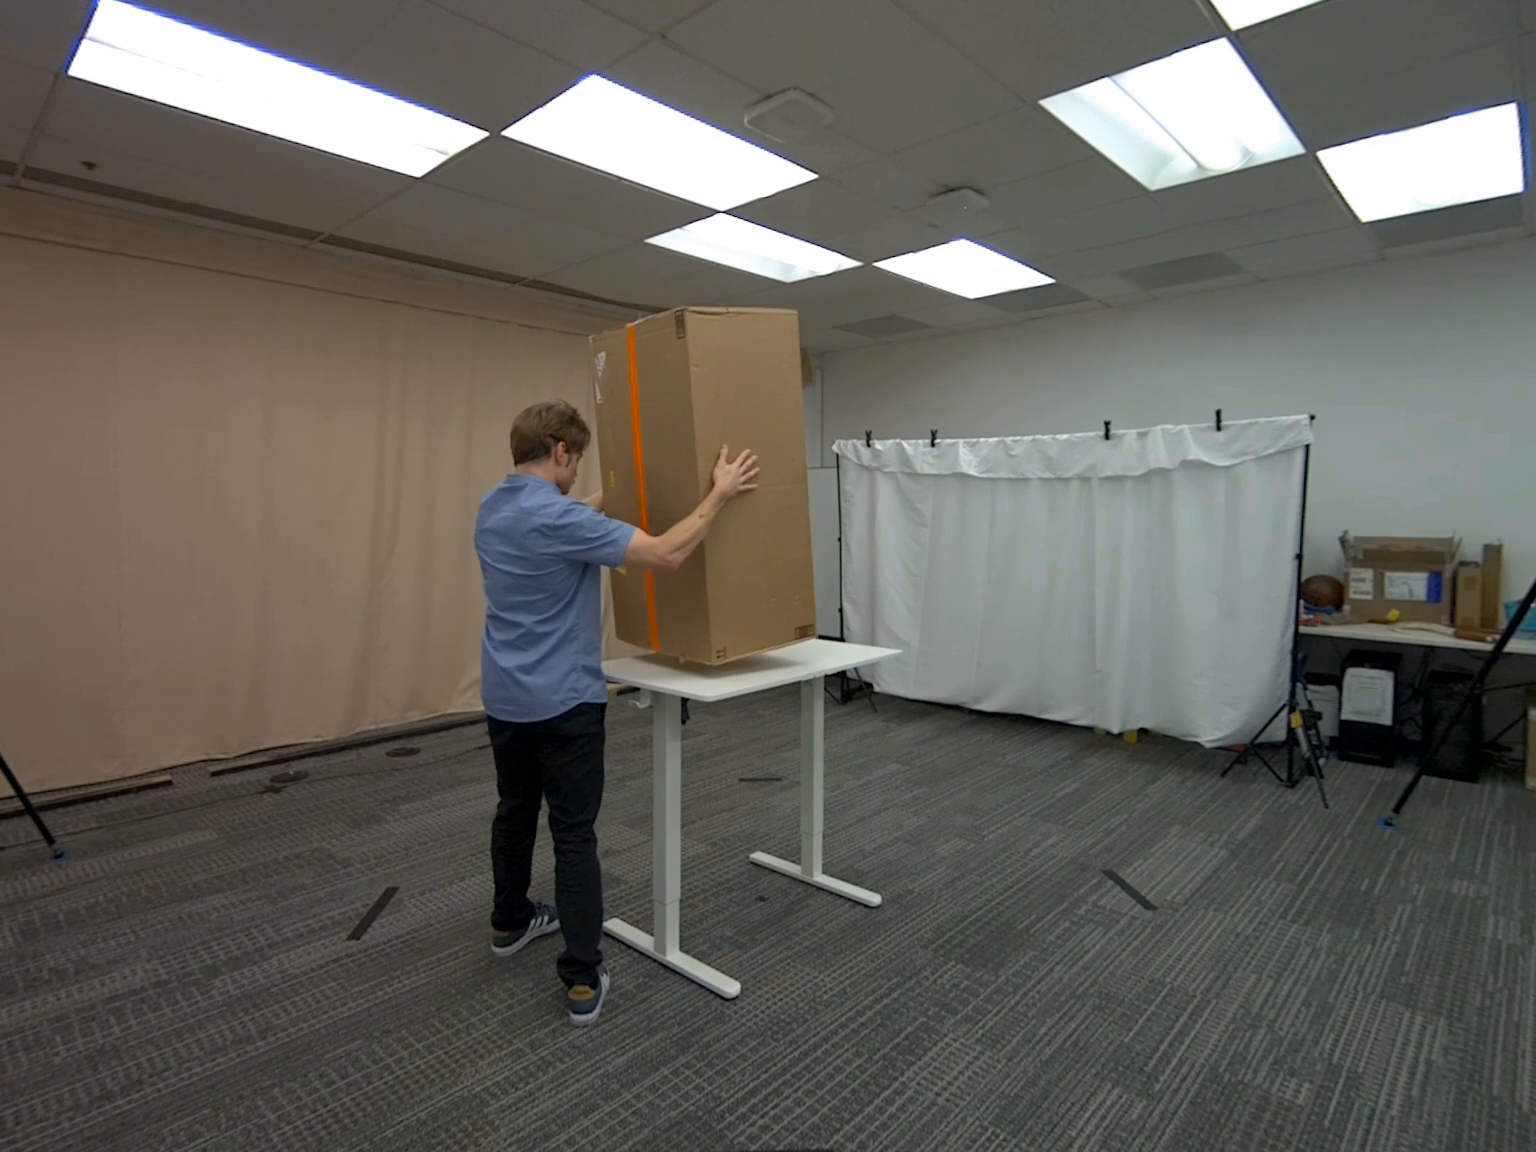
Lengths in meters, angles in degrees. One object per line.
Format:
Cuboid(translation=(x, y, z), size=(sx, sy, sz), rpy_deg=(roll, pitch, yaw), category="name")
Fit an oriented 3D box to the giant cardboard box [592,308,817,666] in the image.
Cuboid(translation=(-0.215, -0.290, 2.718), size=(0.414, 1.020, 0.596), rpy_deg=(-9, 9, -37), category="giant cardboard box")
